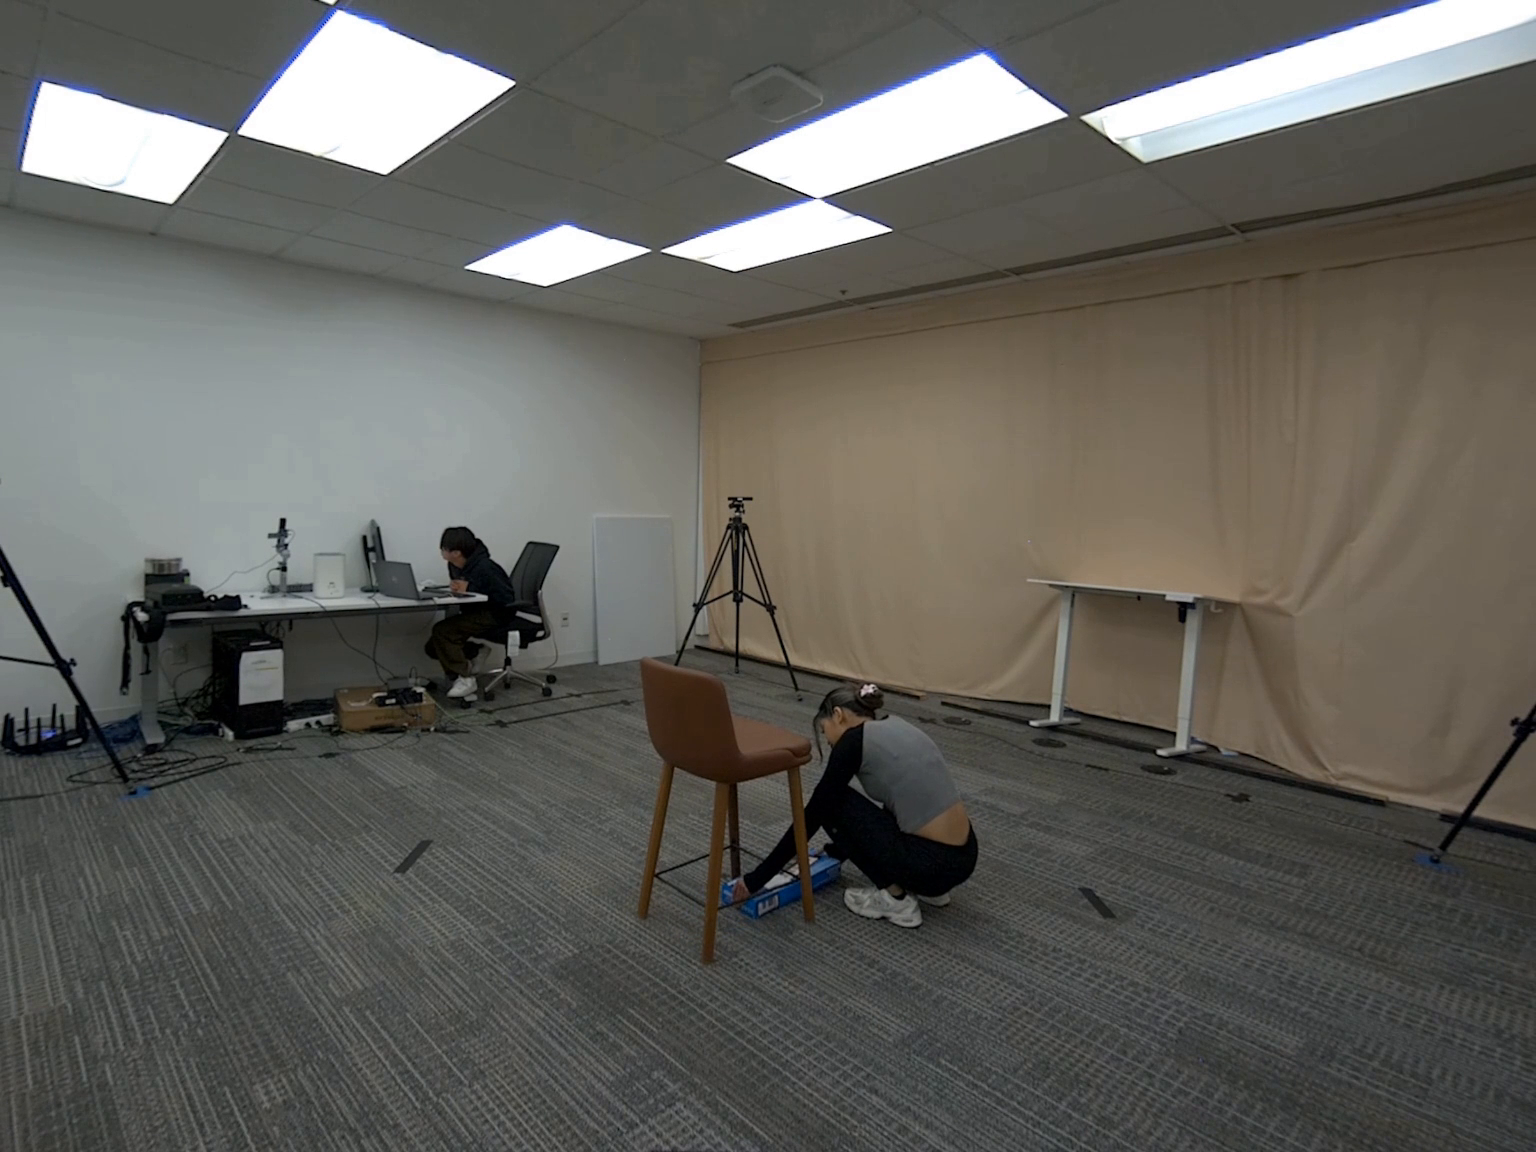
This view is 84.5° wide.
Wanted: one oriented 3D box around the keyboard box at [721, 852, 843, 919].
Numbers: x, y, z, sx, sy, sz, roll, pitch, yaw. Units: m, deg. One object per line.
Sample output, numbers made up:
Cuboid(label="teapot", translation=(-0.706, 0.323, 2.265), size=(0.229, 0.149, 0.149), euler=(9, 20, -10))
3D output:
Cuboid(label="keyboard box", translation=(0.055, 1.084, 2.988), size=(0.427, 0.059, 0.180), euler=(-7, 8, -43))
